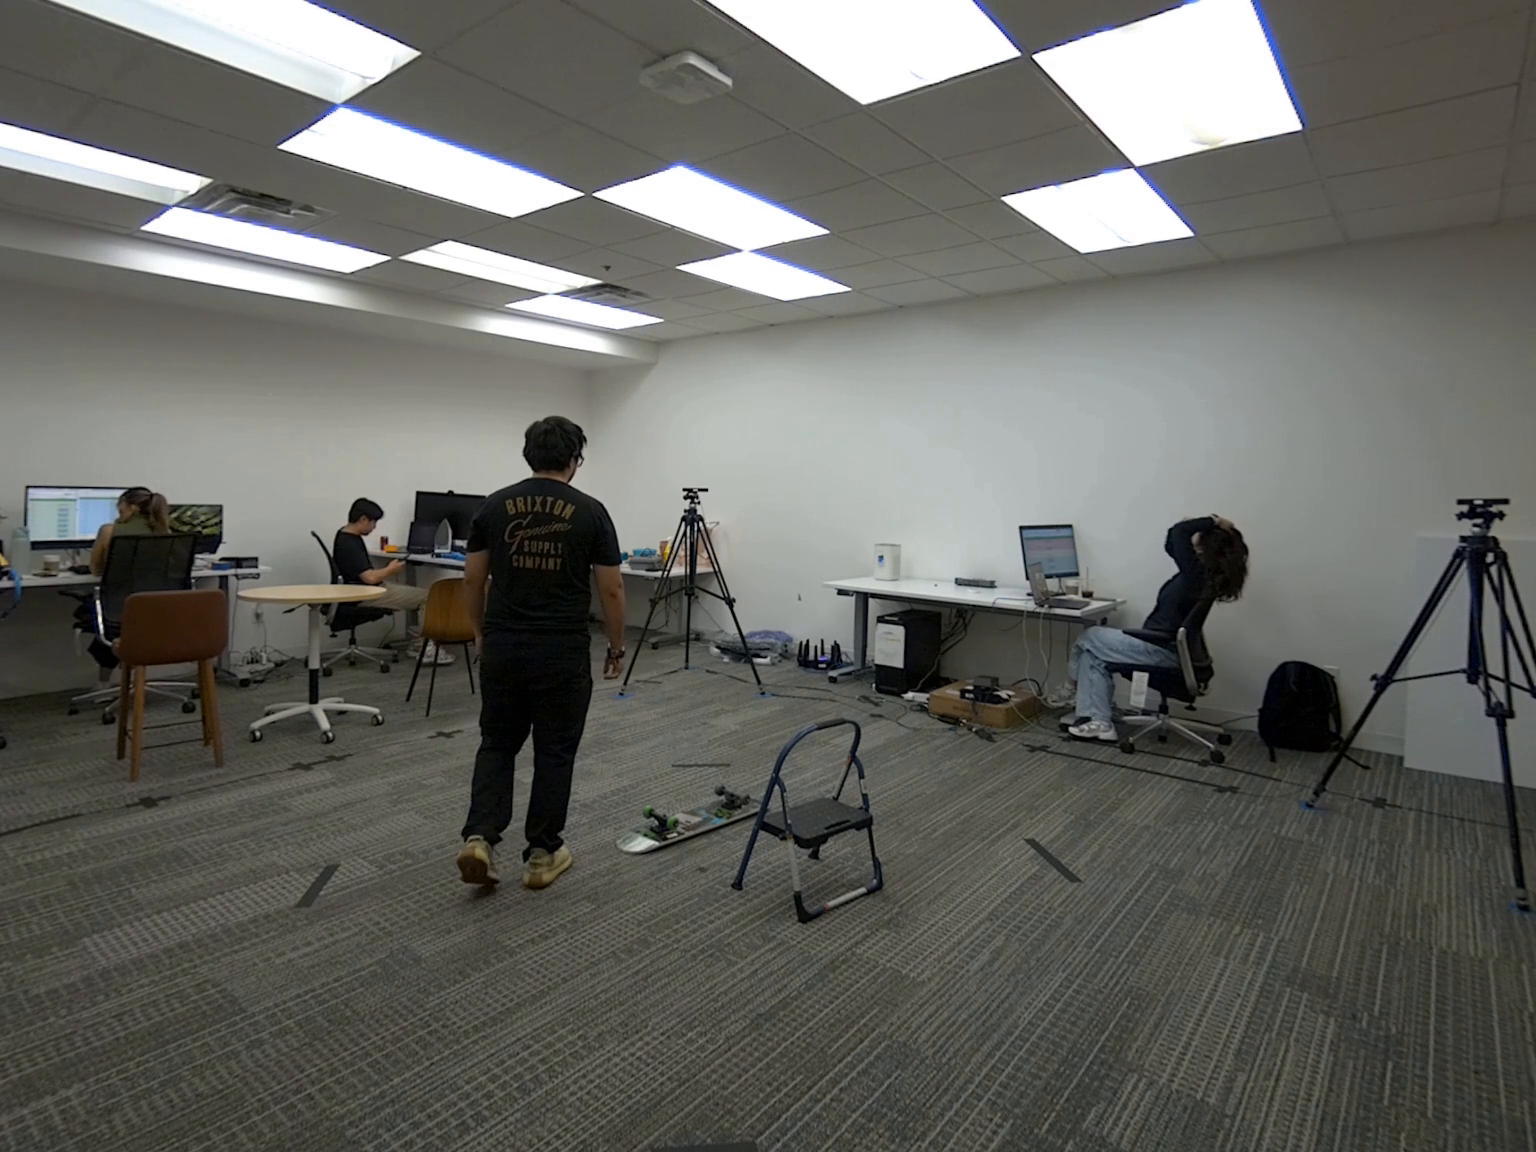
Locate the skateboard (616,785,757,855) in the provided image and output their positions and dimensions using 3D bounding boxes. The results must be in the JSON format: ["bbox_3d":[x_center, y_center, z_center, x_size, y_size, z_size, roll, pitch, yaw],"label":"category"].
[{"bbox_3d":[-0.302,0.977,3.517,0.200,0.110,0.762,6,7,45],"label":"skateboard"}]
